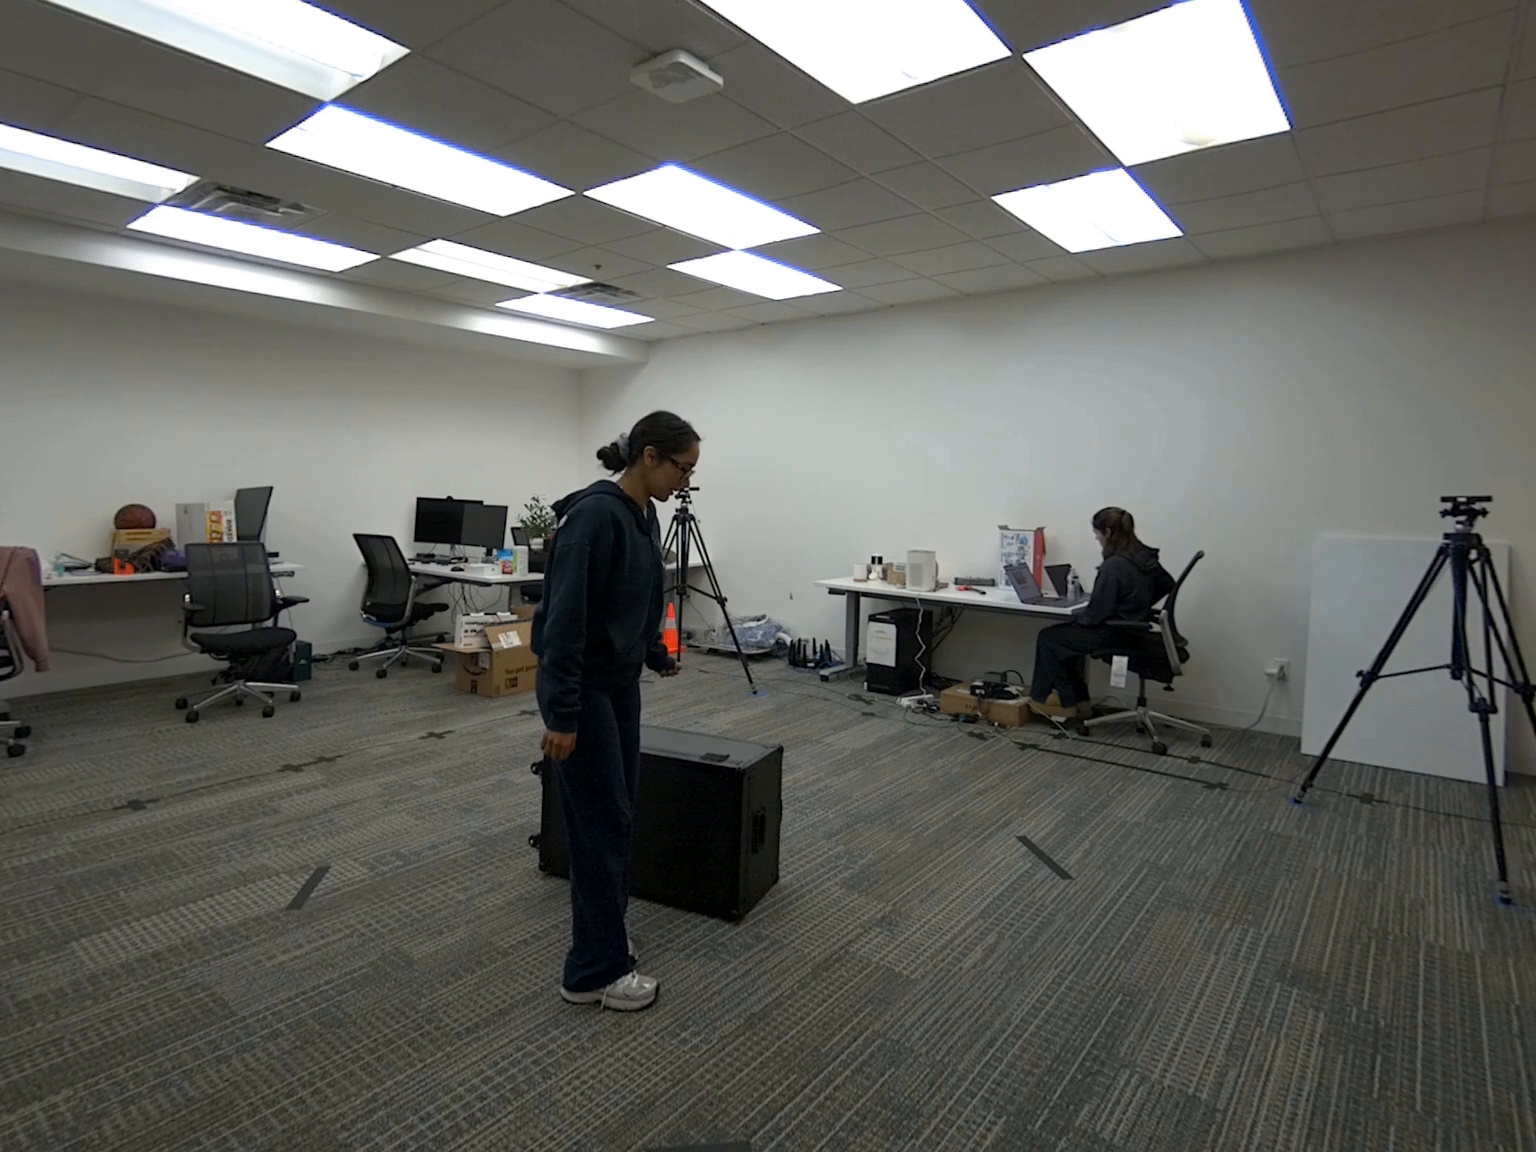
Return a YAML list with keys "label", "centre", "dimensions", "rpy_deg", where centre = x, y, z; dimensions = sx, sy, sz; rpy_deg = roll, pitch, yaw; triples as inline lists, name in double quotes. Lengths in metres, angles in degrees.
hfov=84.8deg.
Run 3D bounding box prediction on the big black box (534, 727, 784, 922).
- label: "big black box"
  centre: [-0.415, 0.816, 3.047]
  dimensions: [0.883, 0.521, 0.387]
  rpy_deg: [3, 1, 23]
